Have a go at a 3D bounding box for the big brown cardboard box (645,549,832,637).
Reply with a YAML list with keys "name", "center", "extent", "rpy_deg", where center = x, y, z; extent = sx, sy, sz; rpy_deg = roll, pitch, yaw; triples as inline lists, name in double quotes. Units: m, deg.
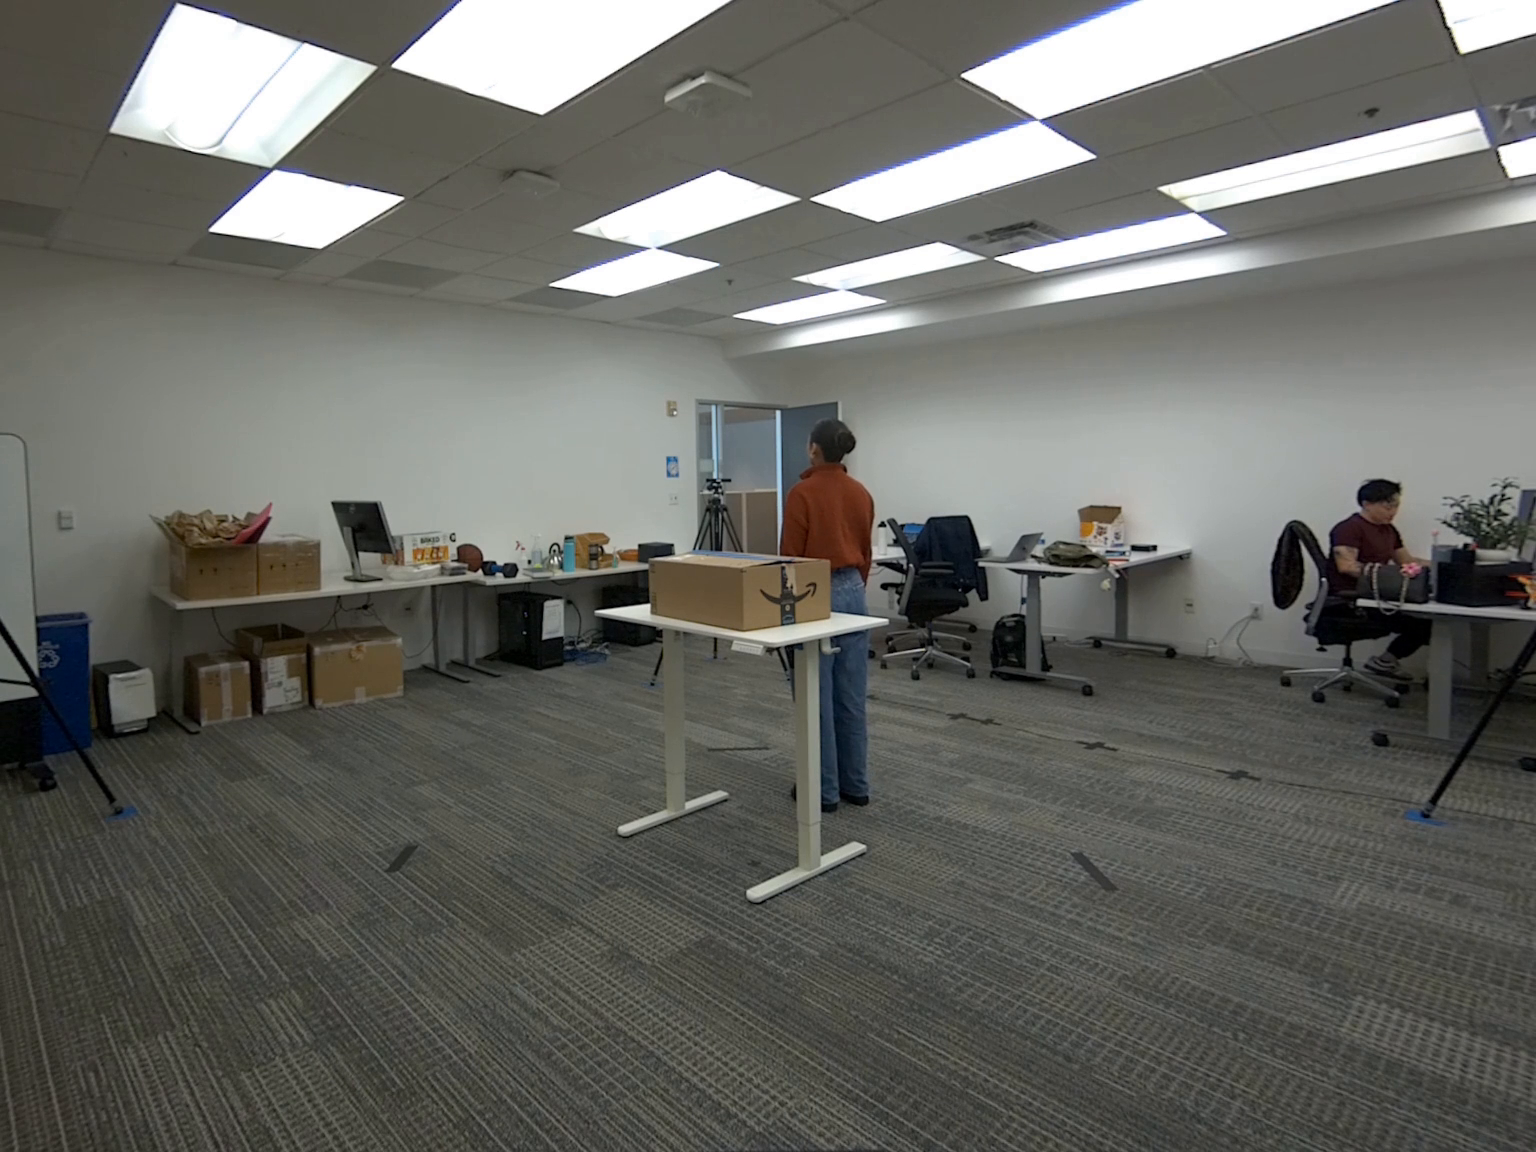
- name: "big brown cardboard box"
  center: [-0.123, 0.044, 3.199]
  extent: [0.407, 0.232, 0.607]
  rpy_deg: [-5, 8, -38]
